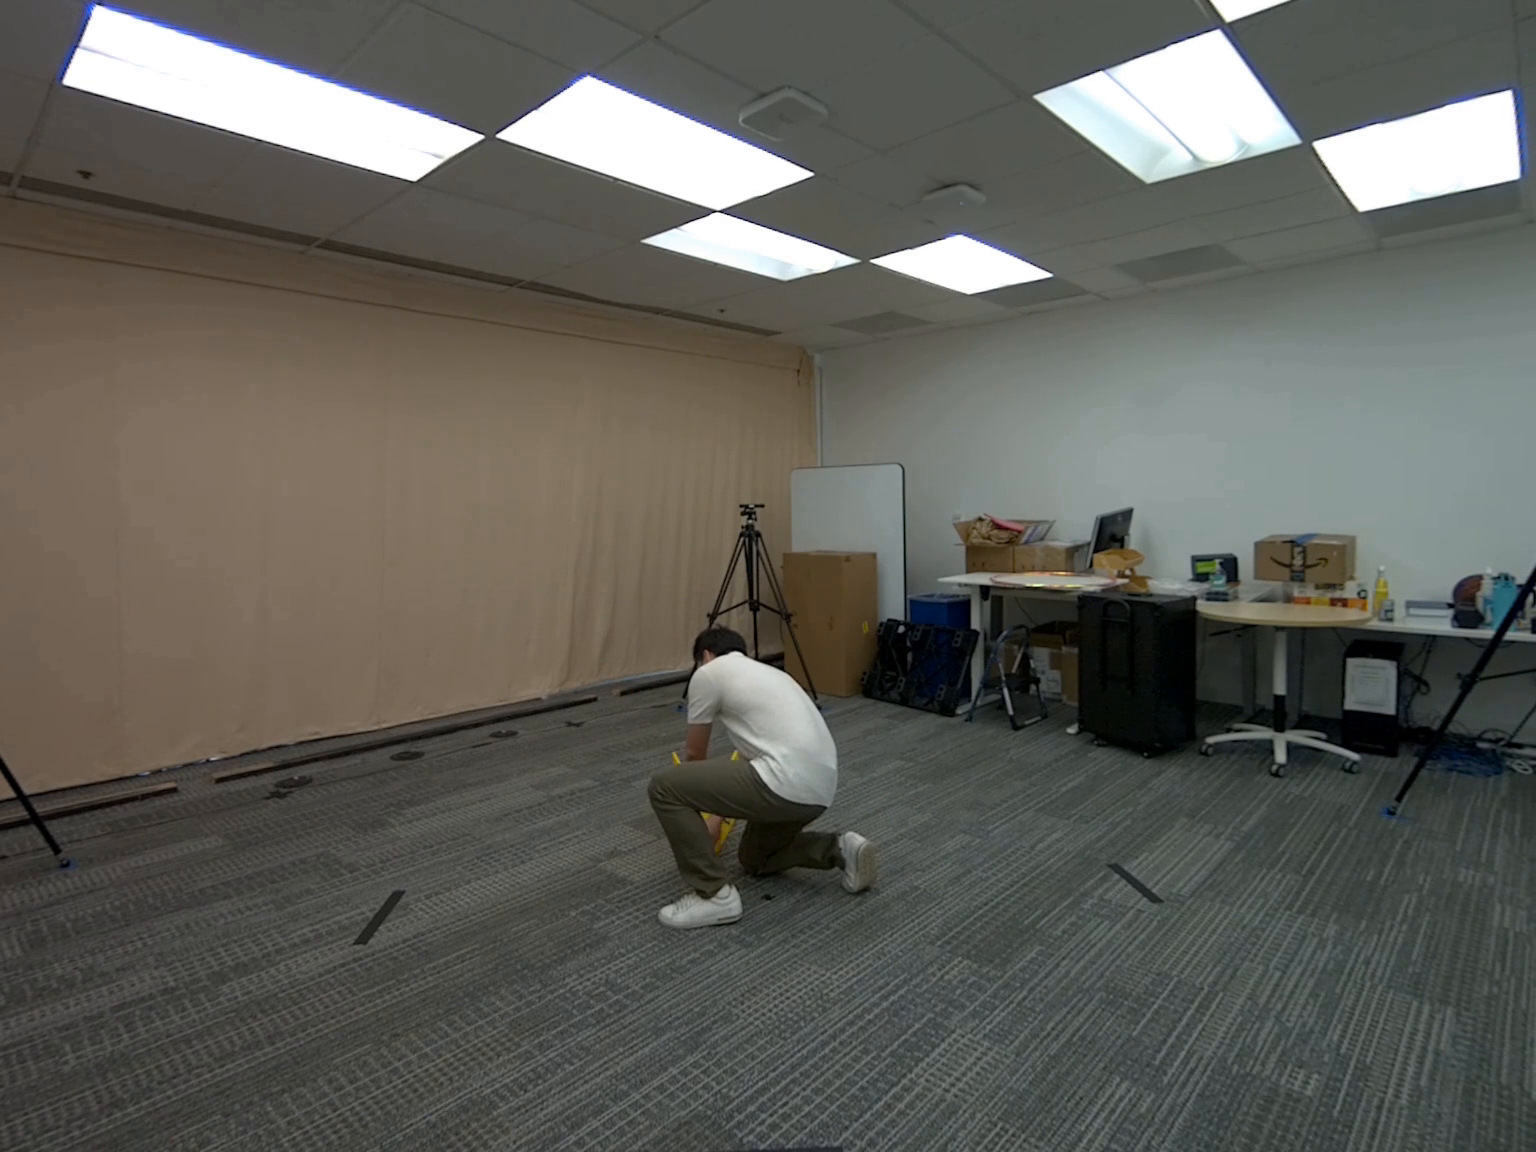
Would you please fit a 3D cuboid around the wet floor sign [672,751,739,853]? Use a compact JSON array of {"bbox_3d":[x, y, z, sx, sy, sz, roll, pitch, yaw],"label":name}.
[{"bbox_3d":[-0.254,0.969,3.519,0.289,0.281,0.651,-3,8,-4],"label":"wet floor sign"}]
